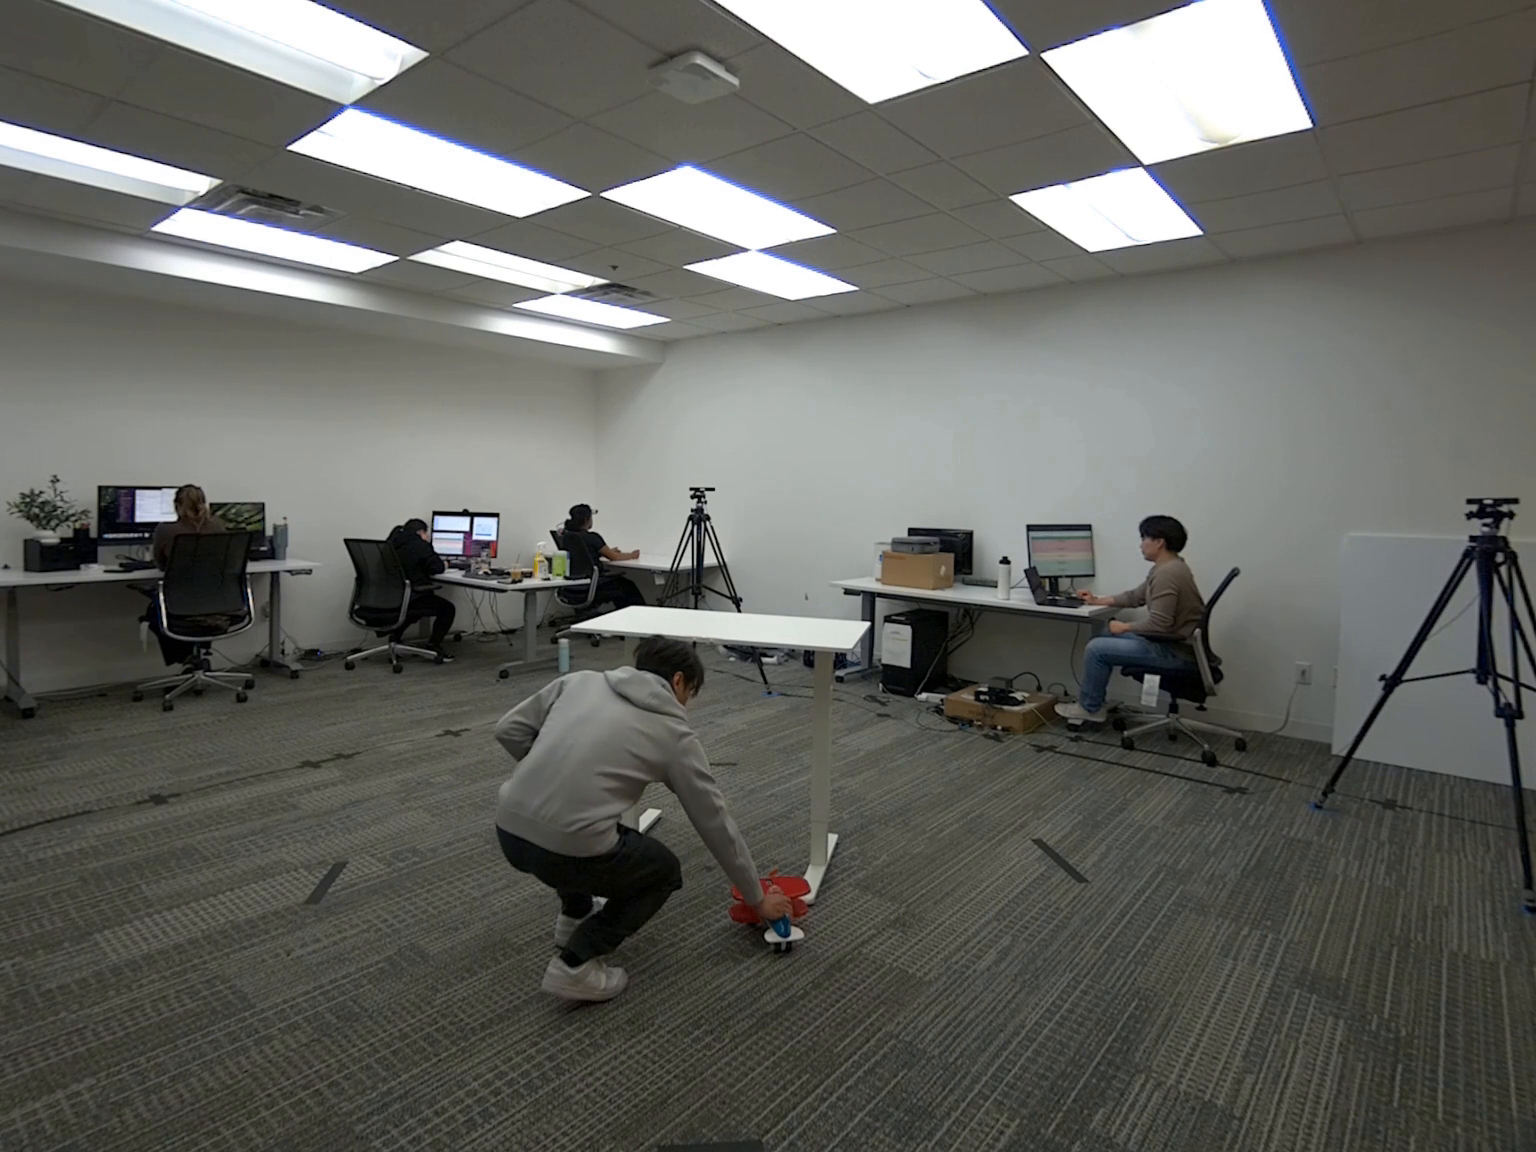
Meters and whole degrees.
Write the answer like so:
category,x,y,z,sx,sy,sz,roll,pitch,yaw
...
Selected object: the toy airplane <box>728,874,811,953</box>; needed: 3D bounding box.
category,x,y,z,sx,sy,sz,roll,pitch,yaw
toy airplane,0.023,1.050,2.640,0.244,0.156,0.268,-4,8,-42
